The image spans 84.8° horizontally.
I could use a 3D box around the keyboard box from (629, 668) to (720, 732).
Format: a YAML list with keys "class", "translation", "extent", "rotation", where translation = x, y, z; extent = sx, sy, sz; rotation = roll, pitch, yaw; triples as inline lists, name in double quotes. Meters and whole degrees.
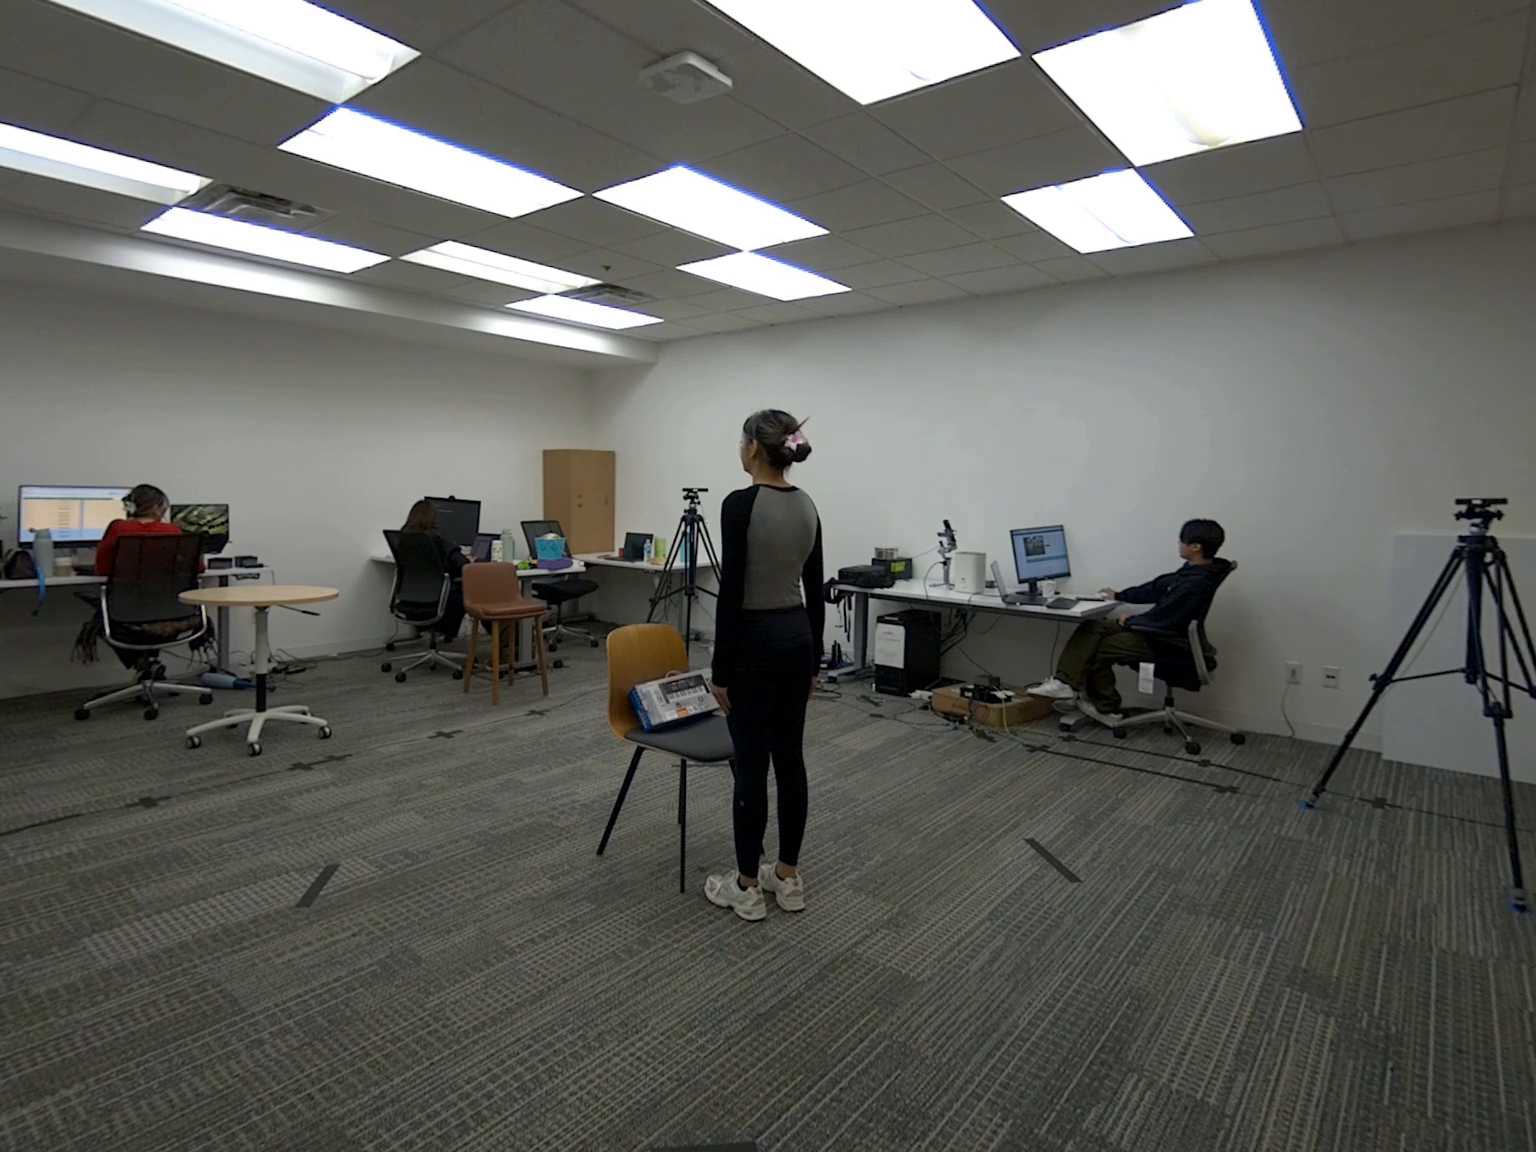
- class: "keyboard box"
  translation: [-0.339, 0.484, 3.348]
  extent: [0.425, 0.181, 0.059]
  rotation: [-9, -30, -43]
